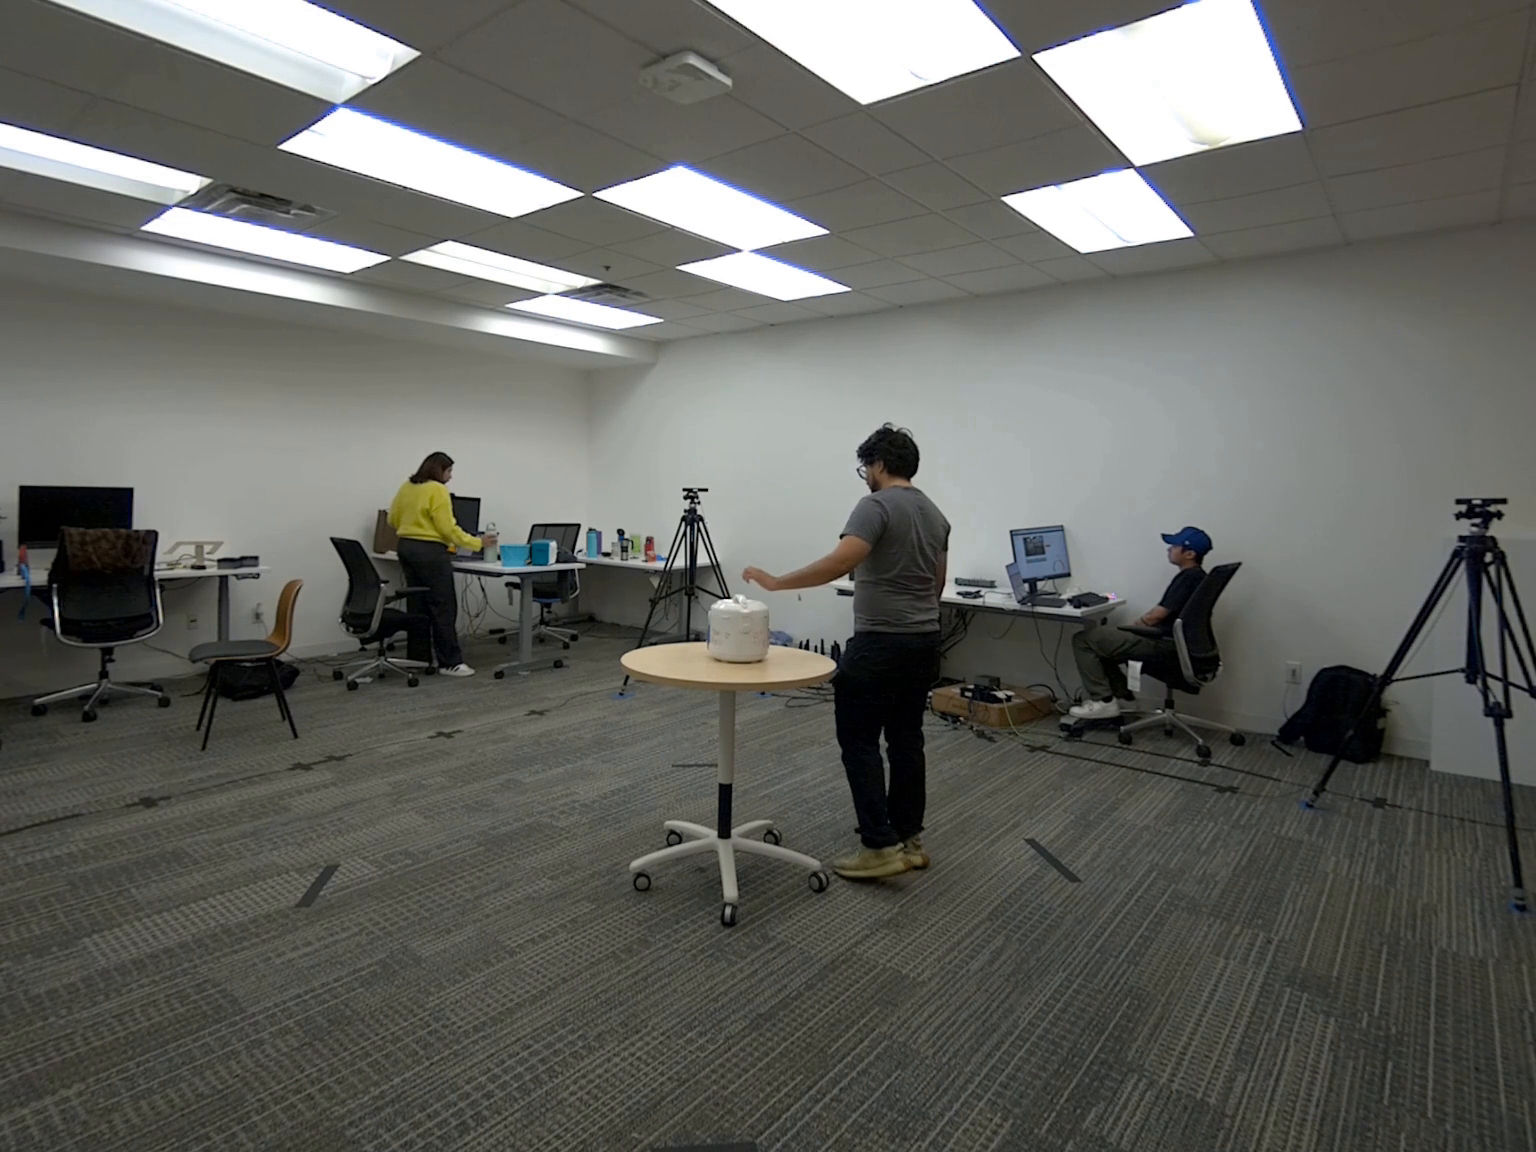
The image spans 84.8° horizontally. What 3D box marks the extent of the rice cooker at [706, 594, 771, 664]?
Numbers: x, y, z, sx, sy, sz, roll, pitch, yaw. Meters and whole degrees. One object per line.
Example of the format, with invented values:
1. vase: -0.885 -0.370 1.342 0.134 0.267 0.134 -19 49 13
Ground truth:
1. rice cooker: -0.110 0.181 3.058 0.215 0.232 0.224 1 4 -11
